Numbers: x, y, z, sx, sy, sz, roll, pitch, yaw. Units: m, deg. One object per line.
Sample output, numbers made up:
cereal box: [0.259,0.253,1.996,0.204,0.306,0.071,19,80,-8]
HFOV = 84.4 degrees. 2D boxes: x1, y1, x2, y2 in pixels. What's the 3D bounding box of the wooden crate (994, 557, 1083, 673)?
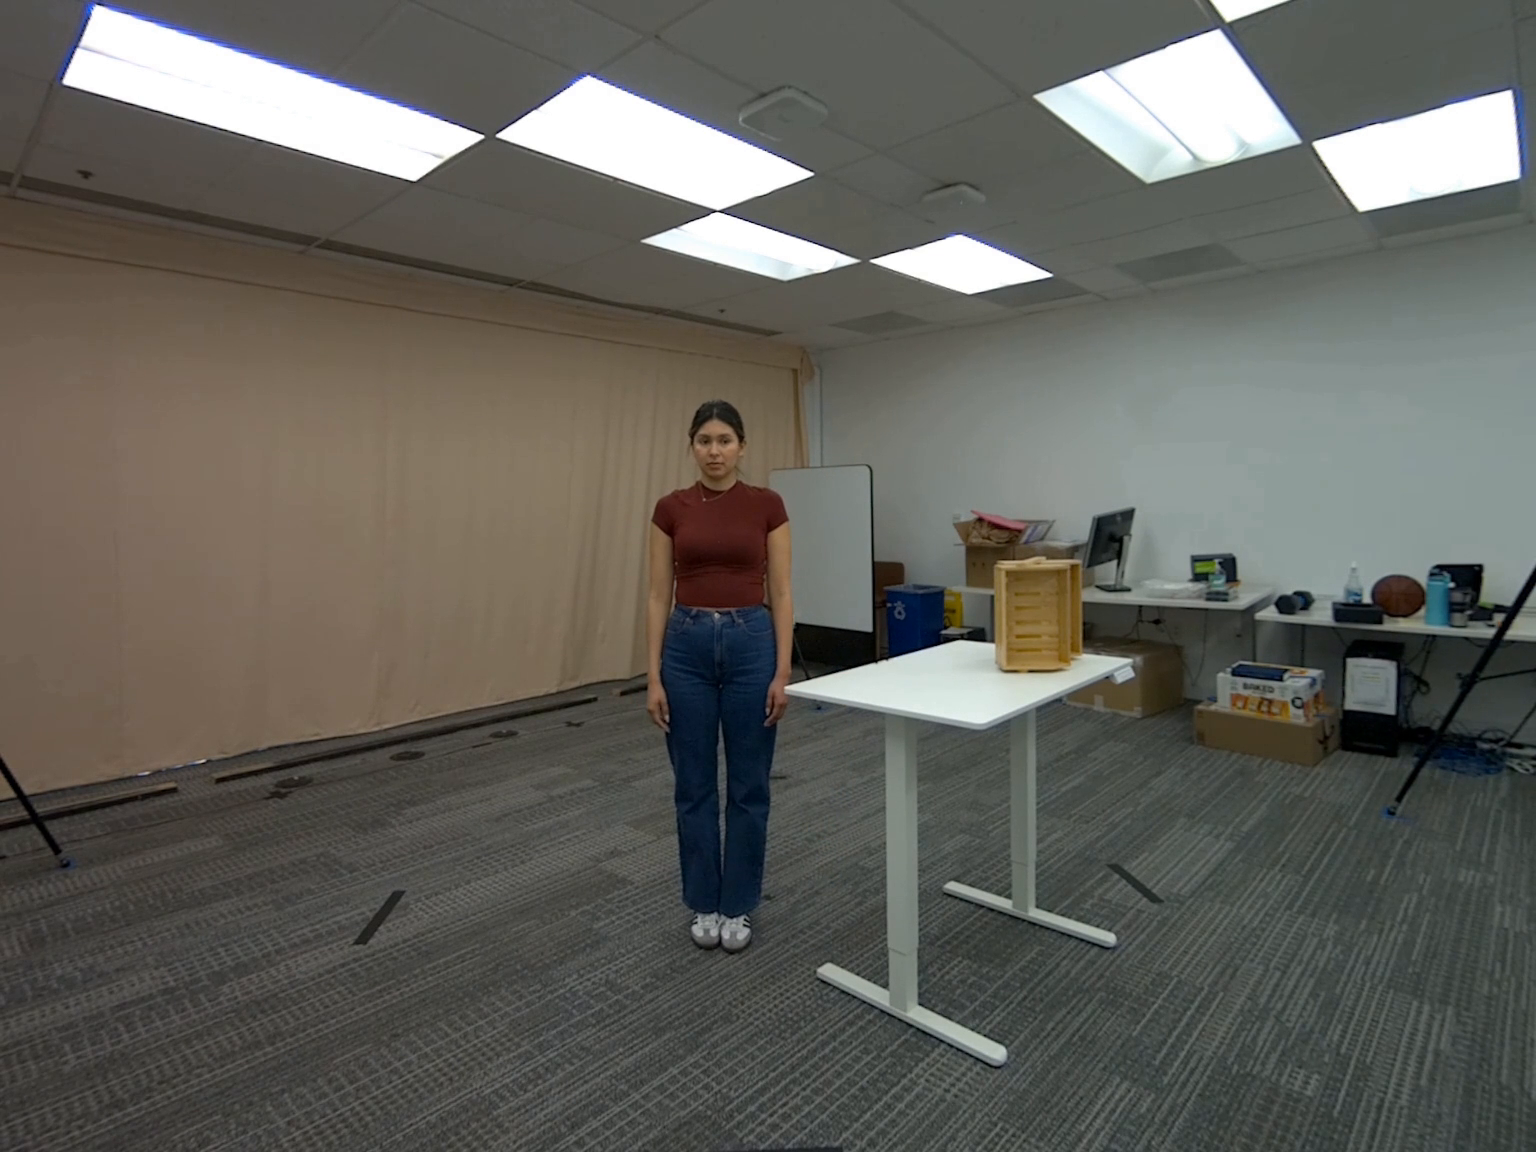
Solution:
wooden crate: [0.854,0.117,2.568,0.303,0.324,0.273,-2,3,3]
